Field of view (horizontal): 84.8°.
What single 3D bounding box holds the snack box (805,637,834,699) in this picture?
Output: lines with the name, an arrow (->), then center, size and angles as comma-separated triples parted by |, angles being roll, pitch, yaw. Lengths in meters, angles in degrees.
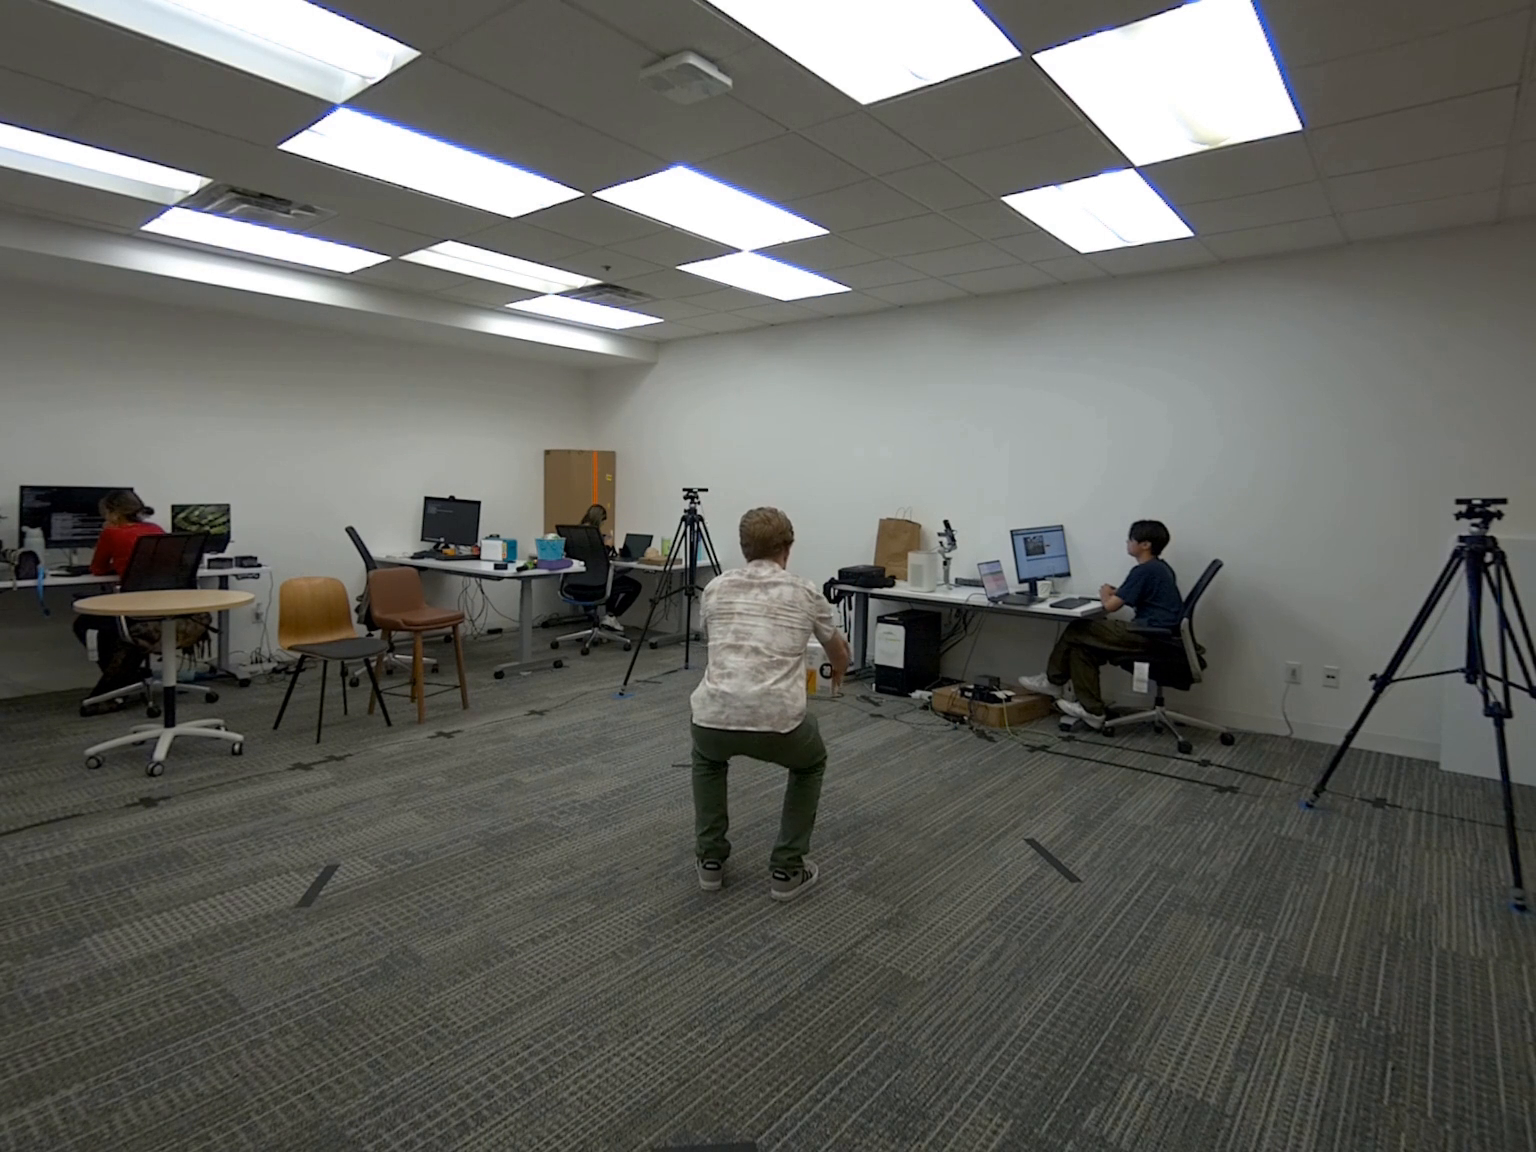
snack box -> 0.093, 0.370, 3.628 | 0.412, 0.206, 0.334 | 3, 0, 14
